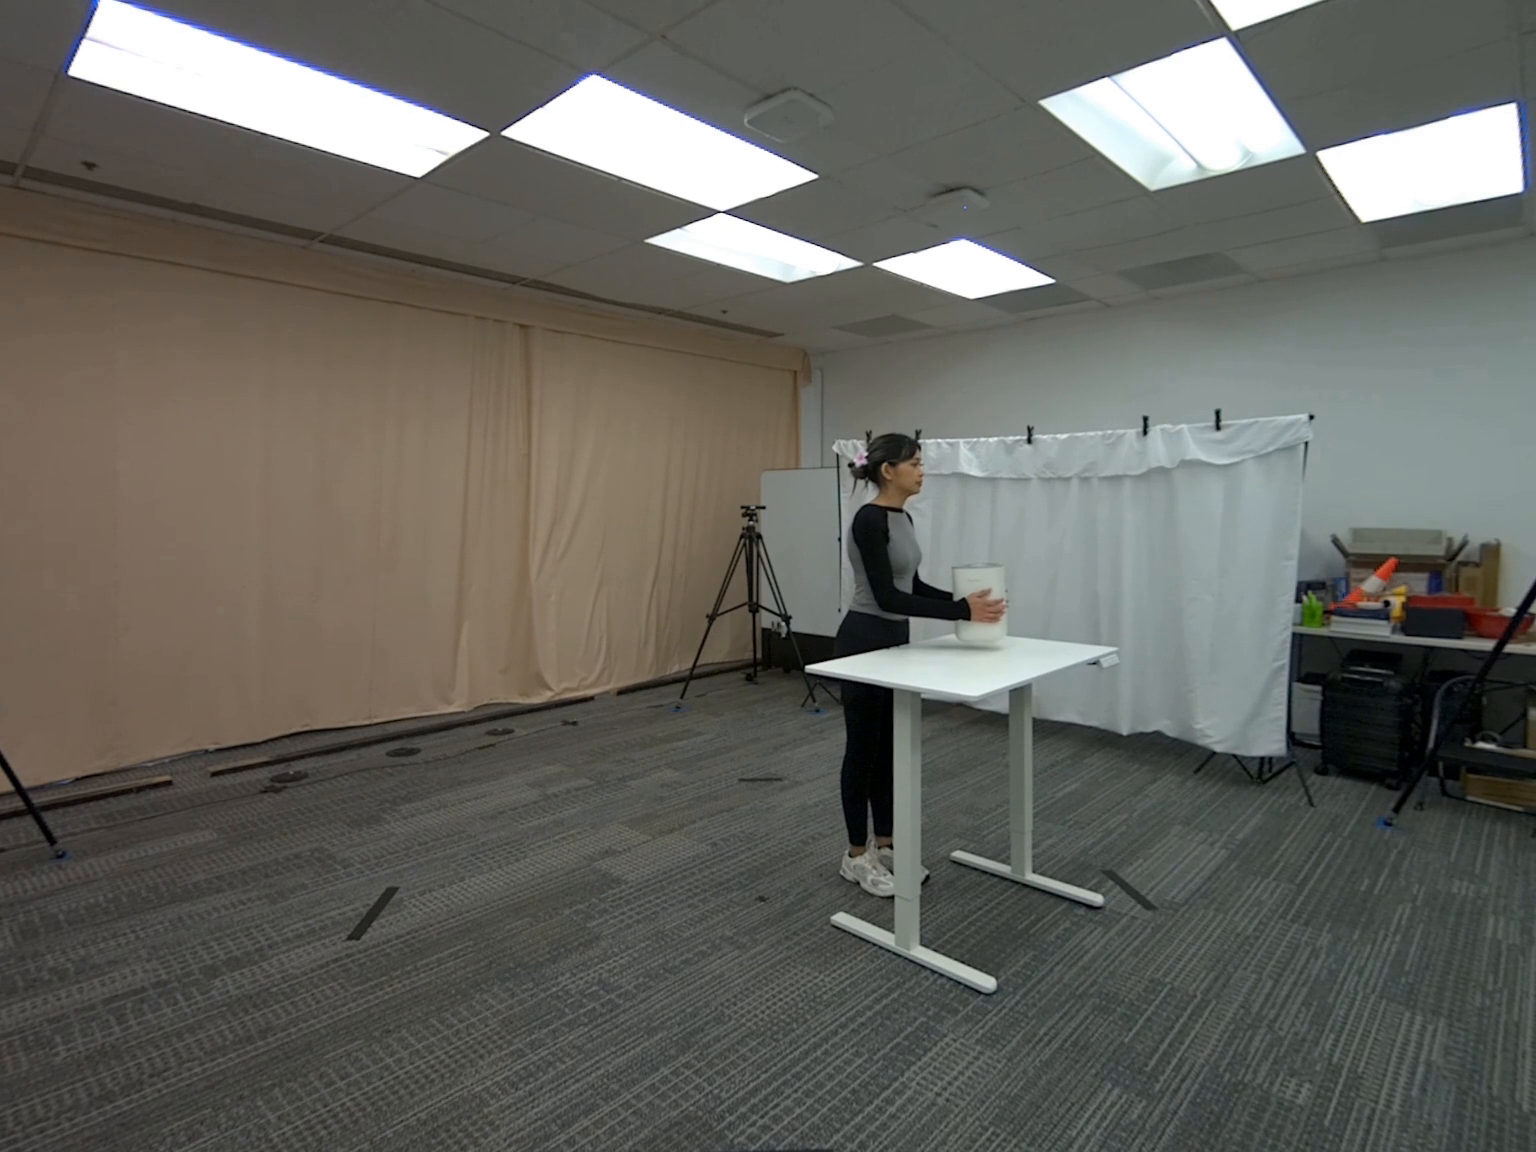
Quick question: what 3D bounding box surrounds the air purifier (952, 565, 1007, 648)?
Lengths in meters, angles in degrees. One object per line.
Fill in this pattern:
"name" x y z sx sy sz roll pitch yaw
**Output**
"air purifier" 0.746 0.098 2.977 0.174 0.265 0.168 -3 3 19
